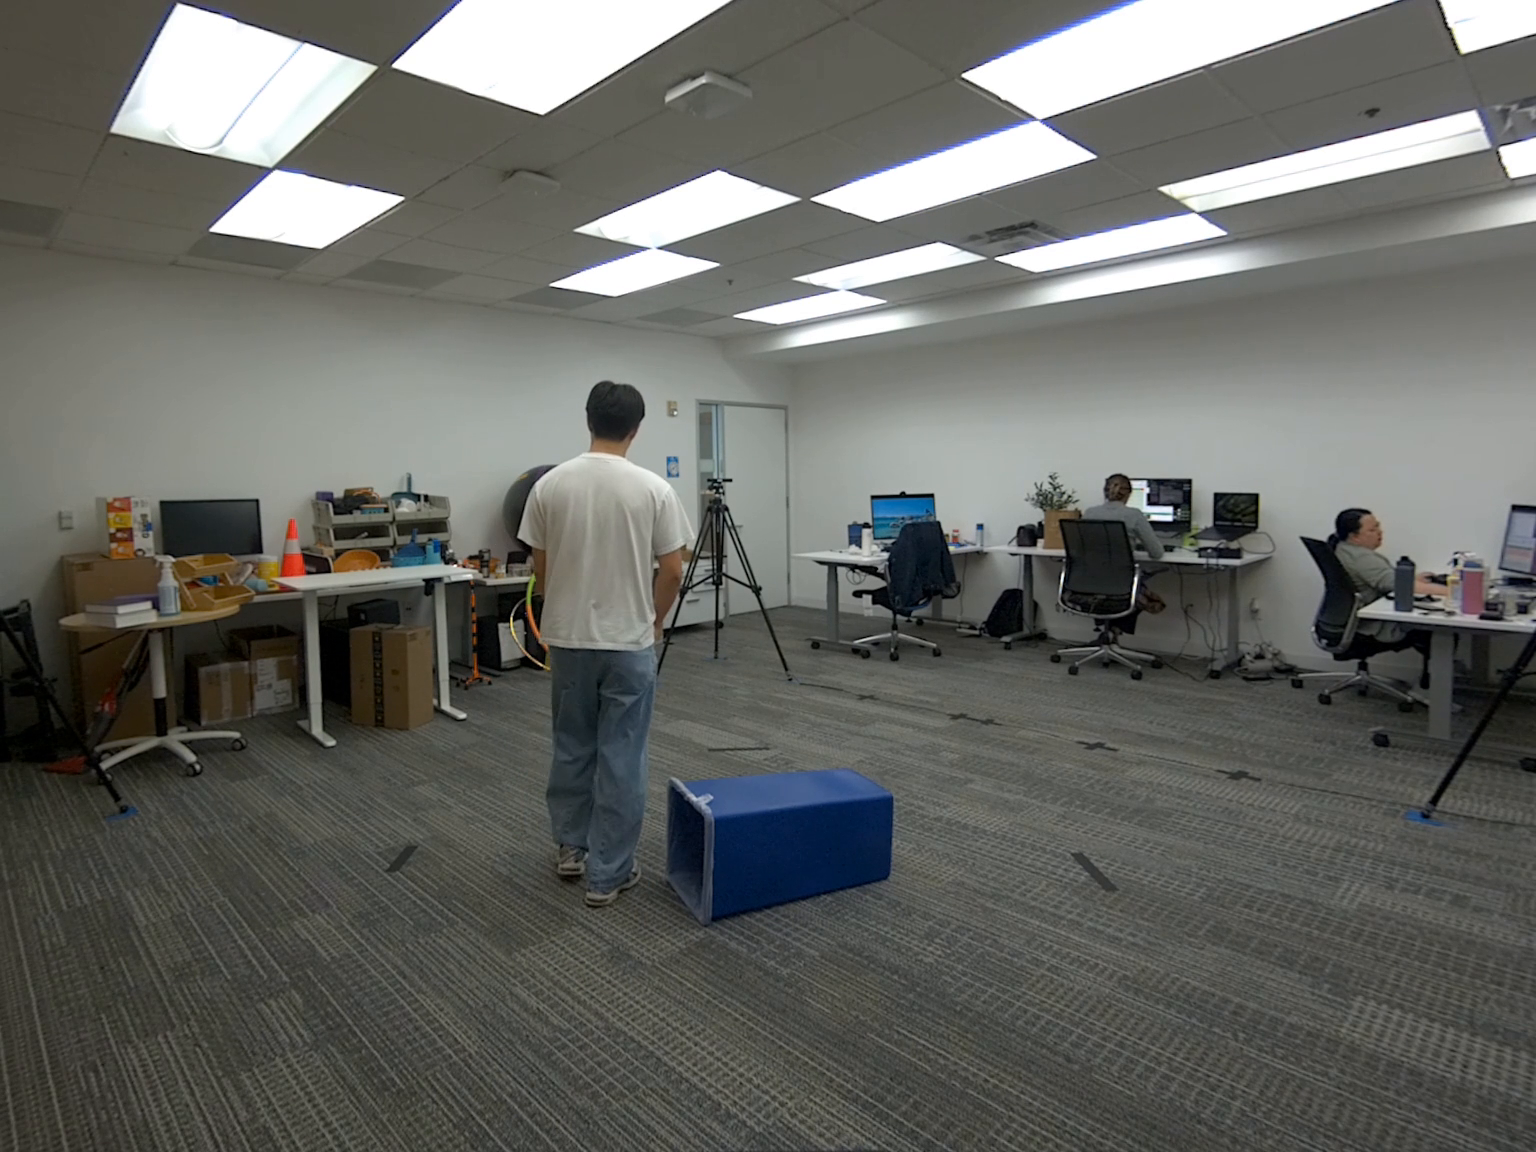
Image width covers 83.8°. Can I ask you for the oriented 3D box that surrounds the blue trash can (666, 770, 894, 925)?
[{"bbox_3d":[0.043,0.894,2.958,0.698,0.377,0.383,-1,5,-25],"label":"blue trash can"}]
